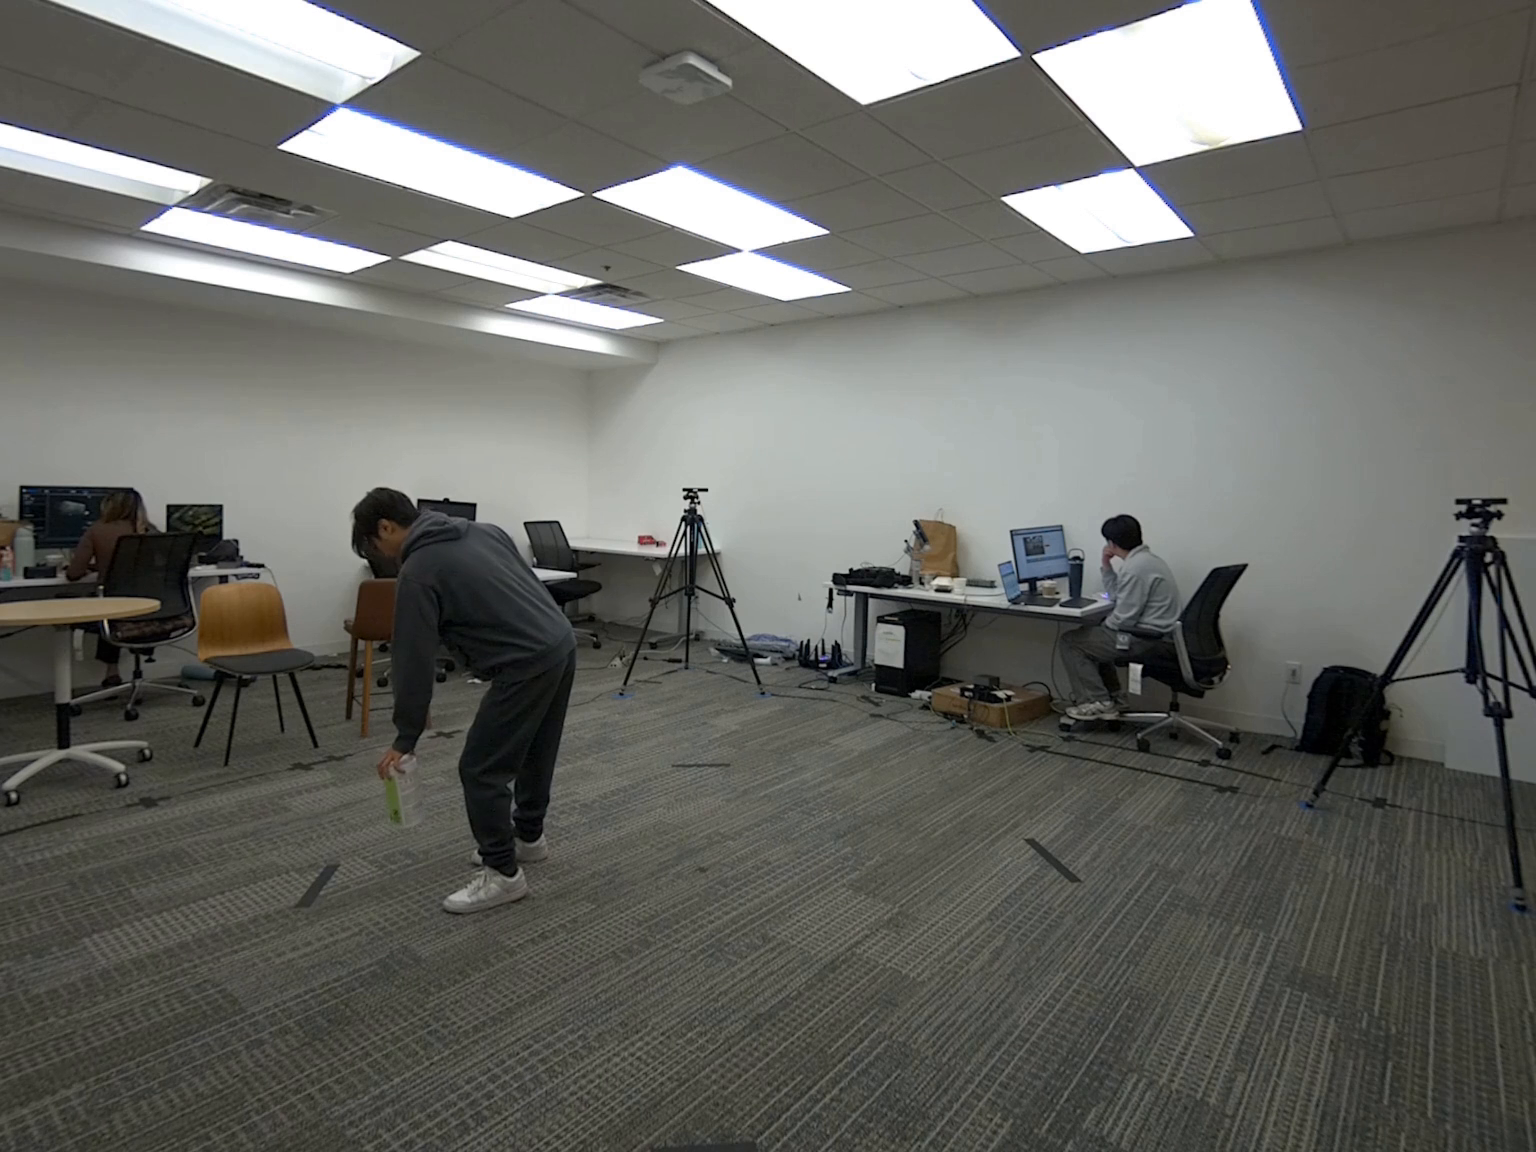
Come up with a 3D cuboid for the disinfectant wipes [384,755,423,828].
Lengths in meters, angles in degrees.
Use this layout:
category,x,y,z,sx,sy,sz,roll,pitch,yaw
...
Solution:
category,x,y,z,sx,sy,sz,roll,pitch,yaw
disinfectant wipes,-1.208,0.710,2.801,0.118,0.216,0.118,-6,7,-1
